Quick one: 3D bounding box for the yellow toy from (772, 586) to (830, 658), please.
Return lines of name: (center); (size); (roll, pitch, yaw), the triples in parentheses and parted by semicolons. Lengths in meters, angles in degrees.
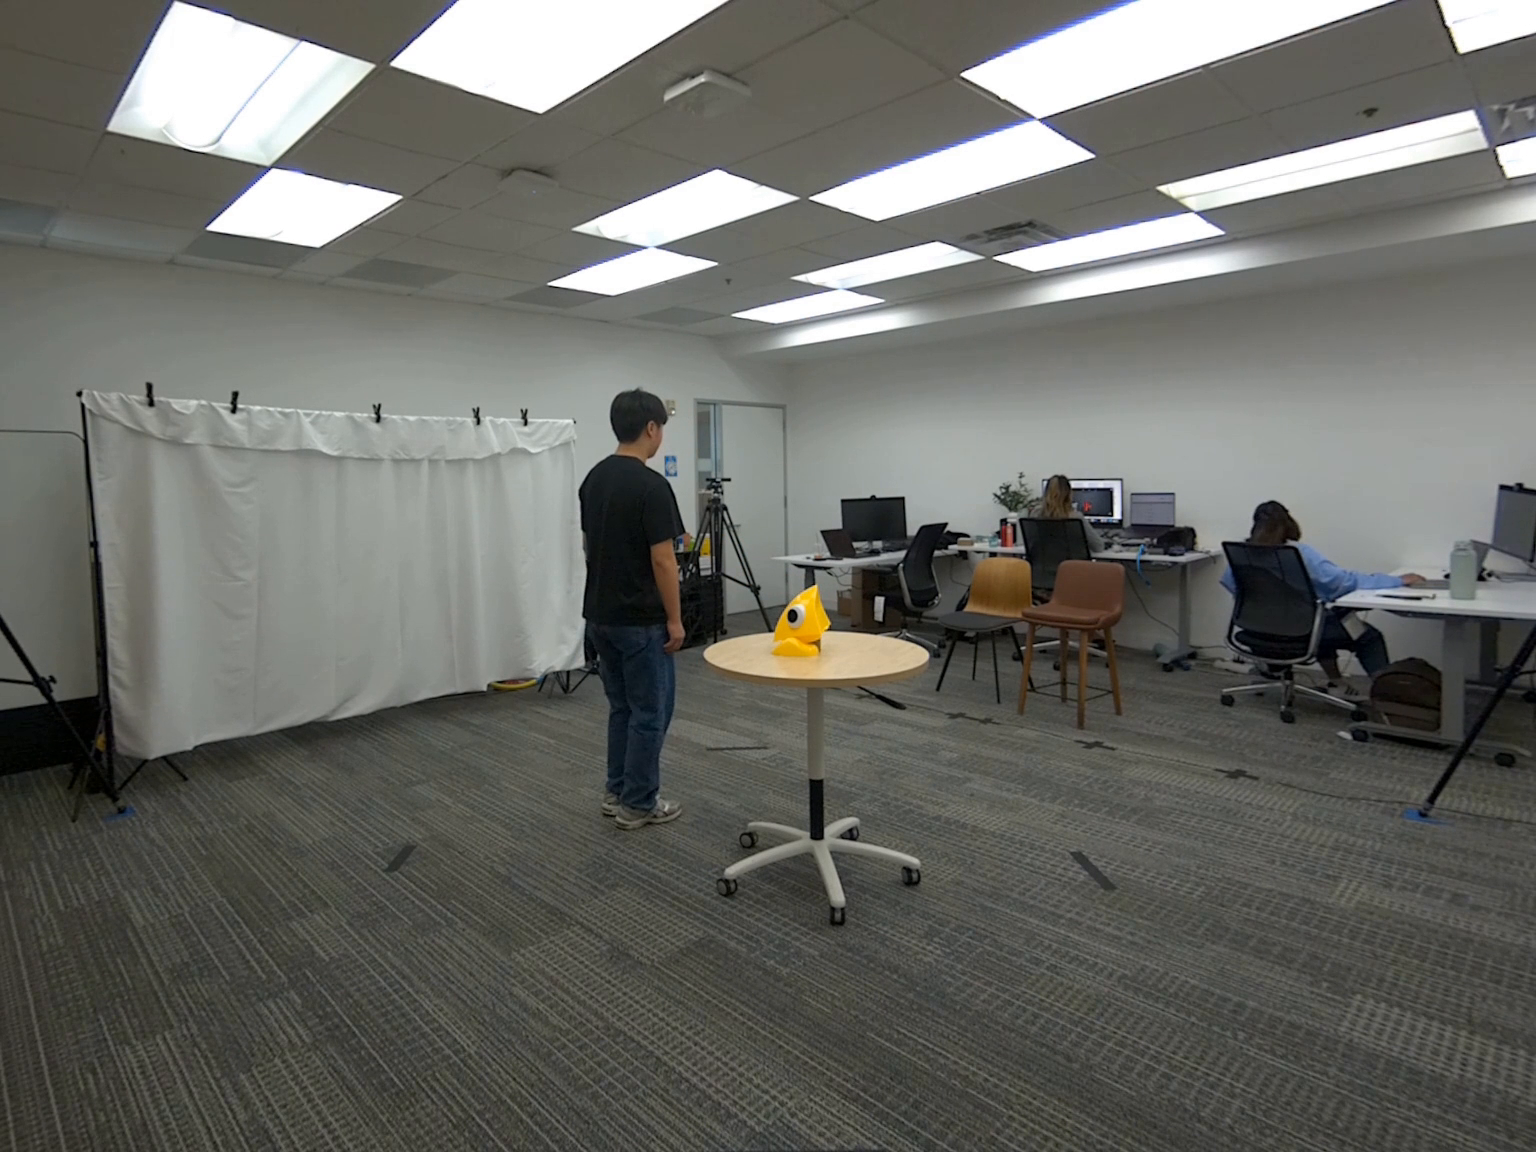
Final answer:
yellow toy: (0.111, 0.143, 2.960); (0.196, 0.230, 0.203); (1, 5, 14)
